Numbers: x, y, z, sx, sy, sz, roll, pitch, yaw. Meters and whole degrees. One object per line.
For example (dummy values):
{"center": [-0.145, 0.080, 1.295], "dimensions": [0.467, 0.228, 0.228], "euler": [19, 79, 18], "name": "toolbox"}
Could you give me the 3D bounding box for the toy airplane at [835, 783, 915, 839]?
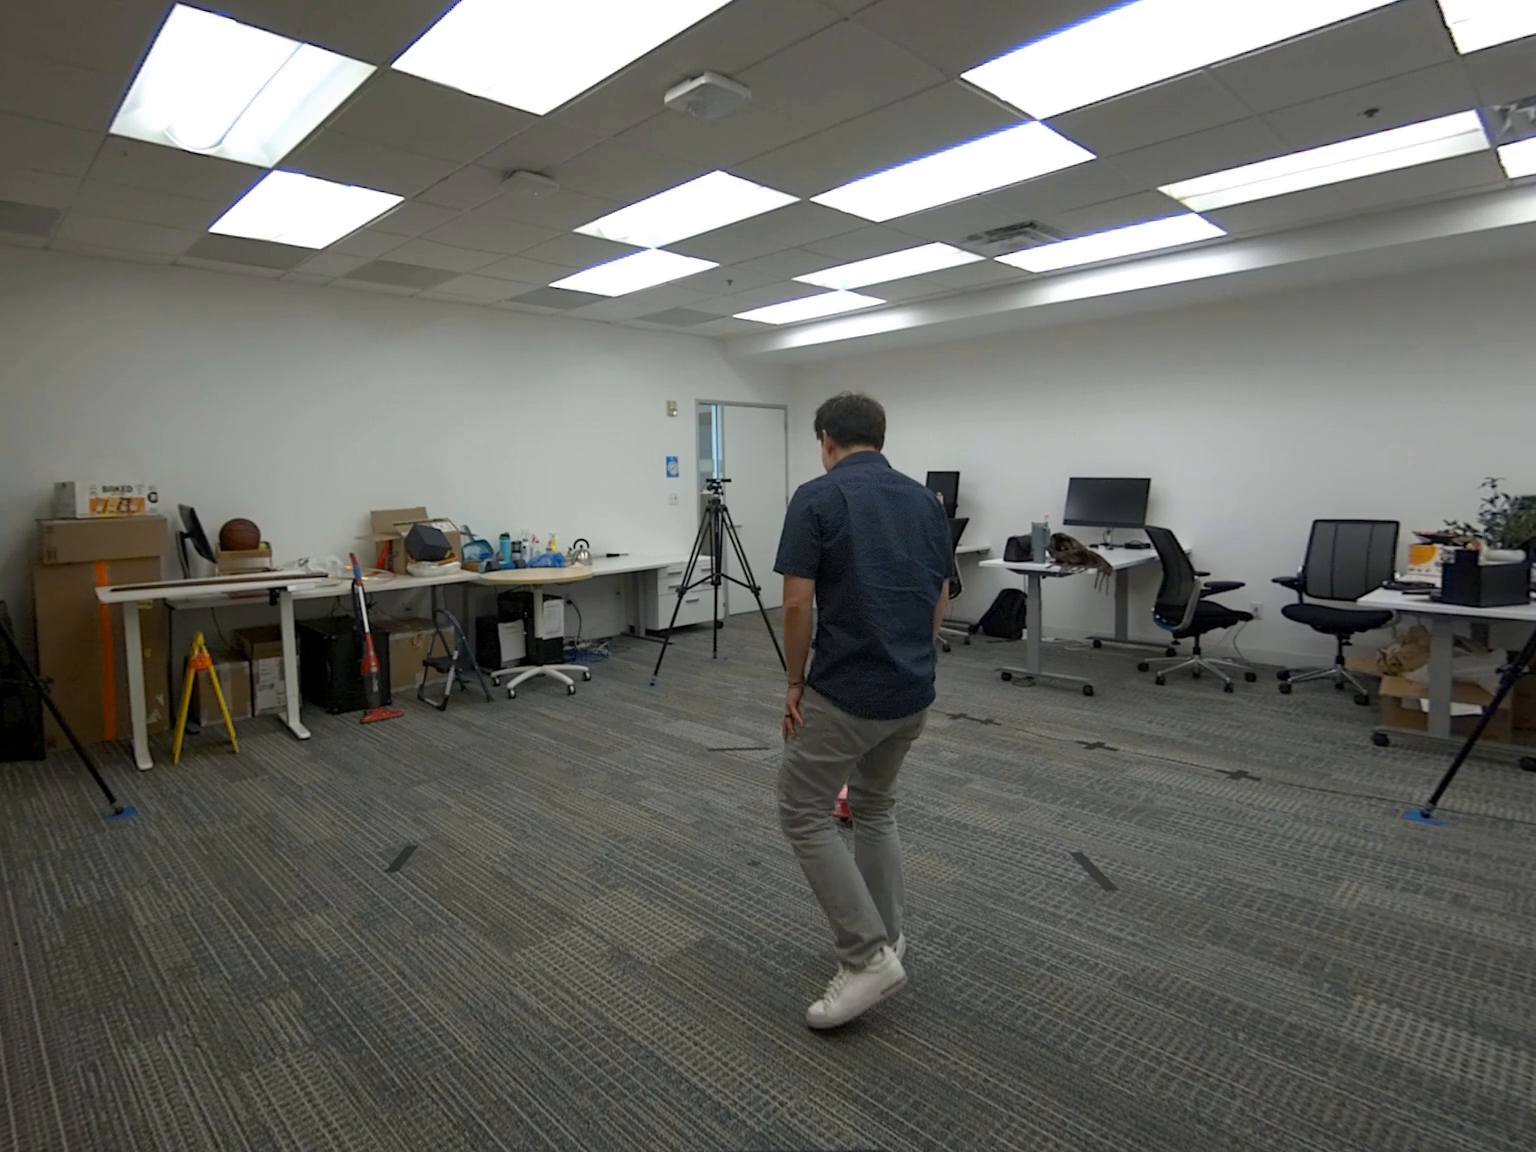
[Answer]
{"center": [0.399, 0.927, 3.421], "dimensions": [0.267, 0.156, 0.244], "euler": [2, 6, 42], "name": "toy airplane"}
